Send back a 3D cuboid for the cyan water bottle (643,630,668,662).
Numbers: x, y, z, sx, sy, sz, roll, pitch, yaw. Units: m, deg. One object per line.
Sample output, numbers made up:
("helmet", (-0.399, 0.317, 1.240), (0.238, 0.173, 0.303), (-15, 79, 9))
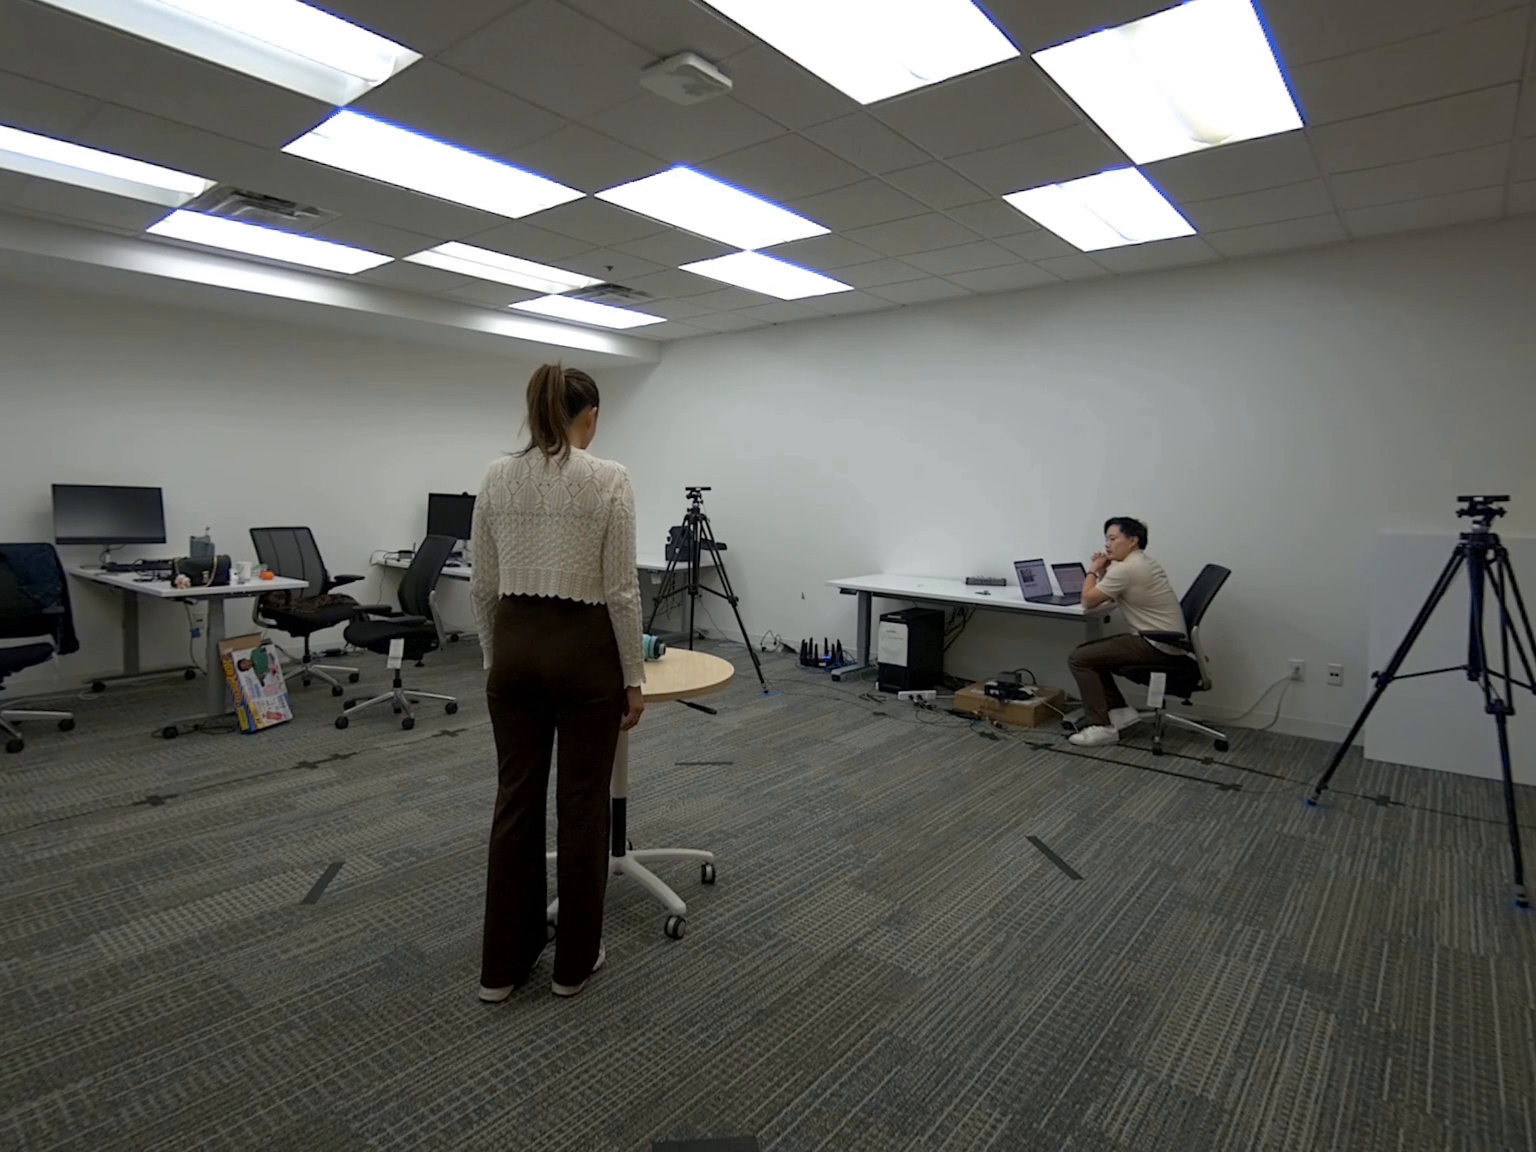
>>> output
("cyan water bottle", (-0.508, 0.243, 2.986), (0.285, 0.092, 0.092), (1, 4, 5))
